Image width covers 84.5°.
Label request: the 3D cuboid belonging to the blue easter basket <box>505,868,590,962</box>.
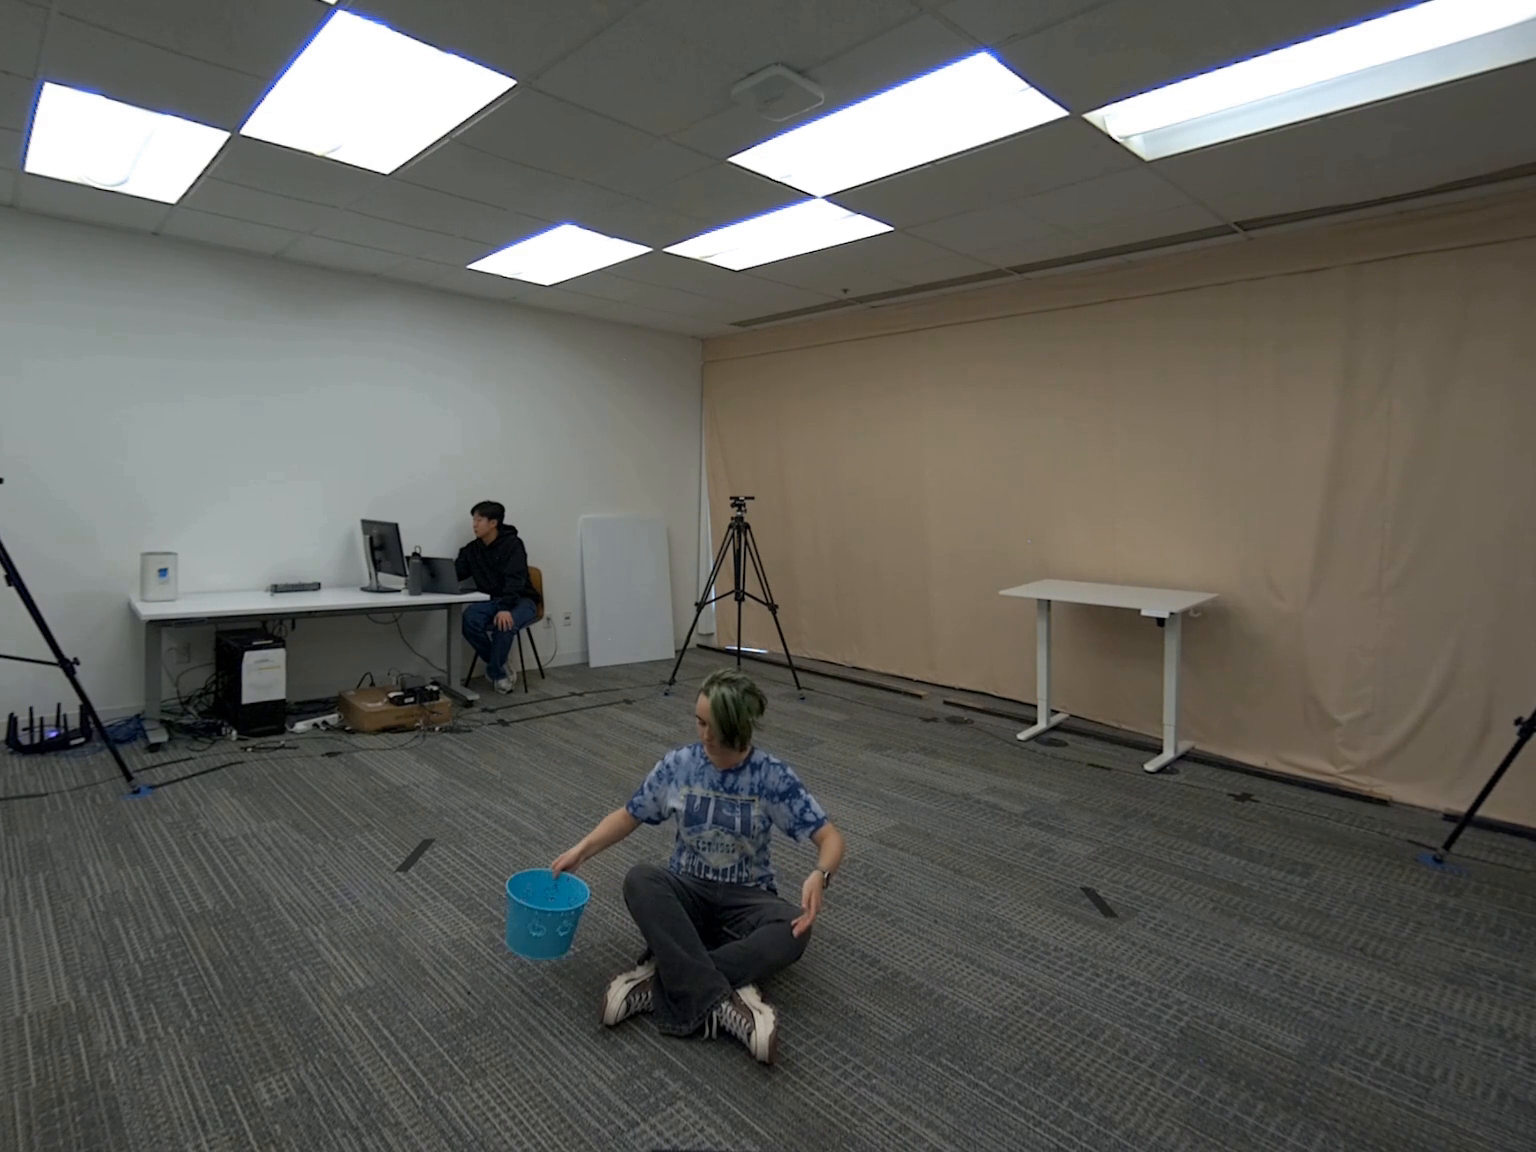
[{"bbox_3d":[-0.610,0.930,2.305,0.243,0.156,0.244,10,2,-2],"label":"blue easter basket"}]
